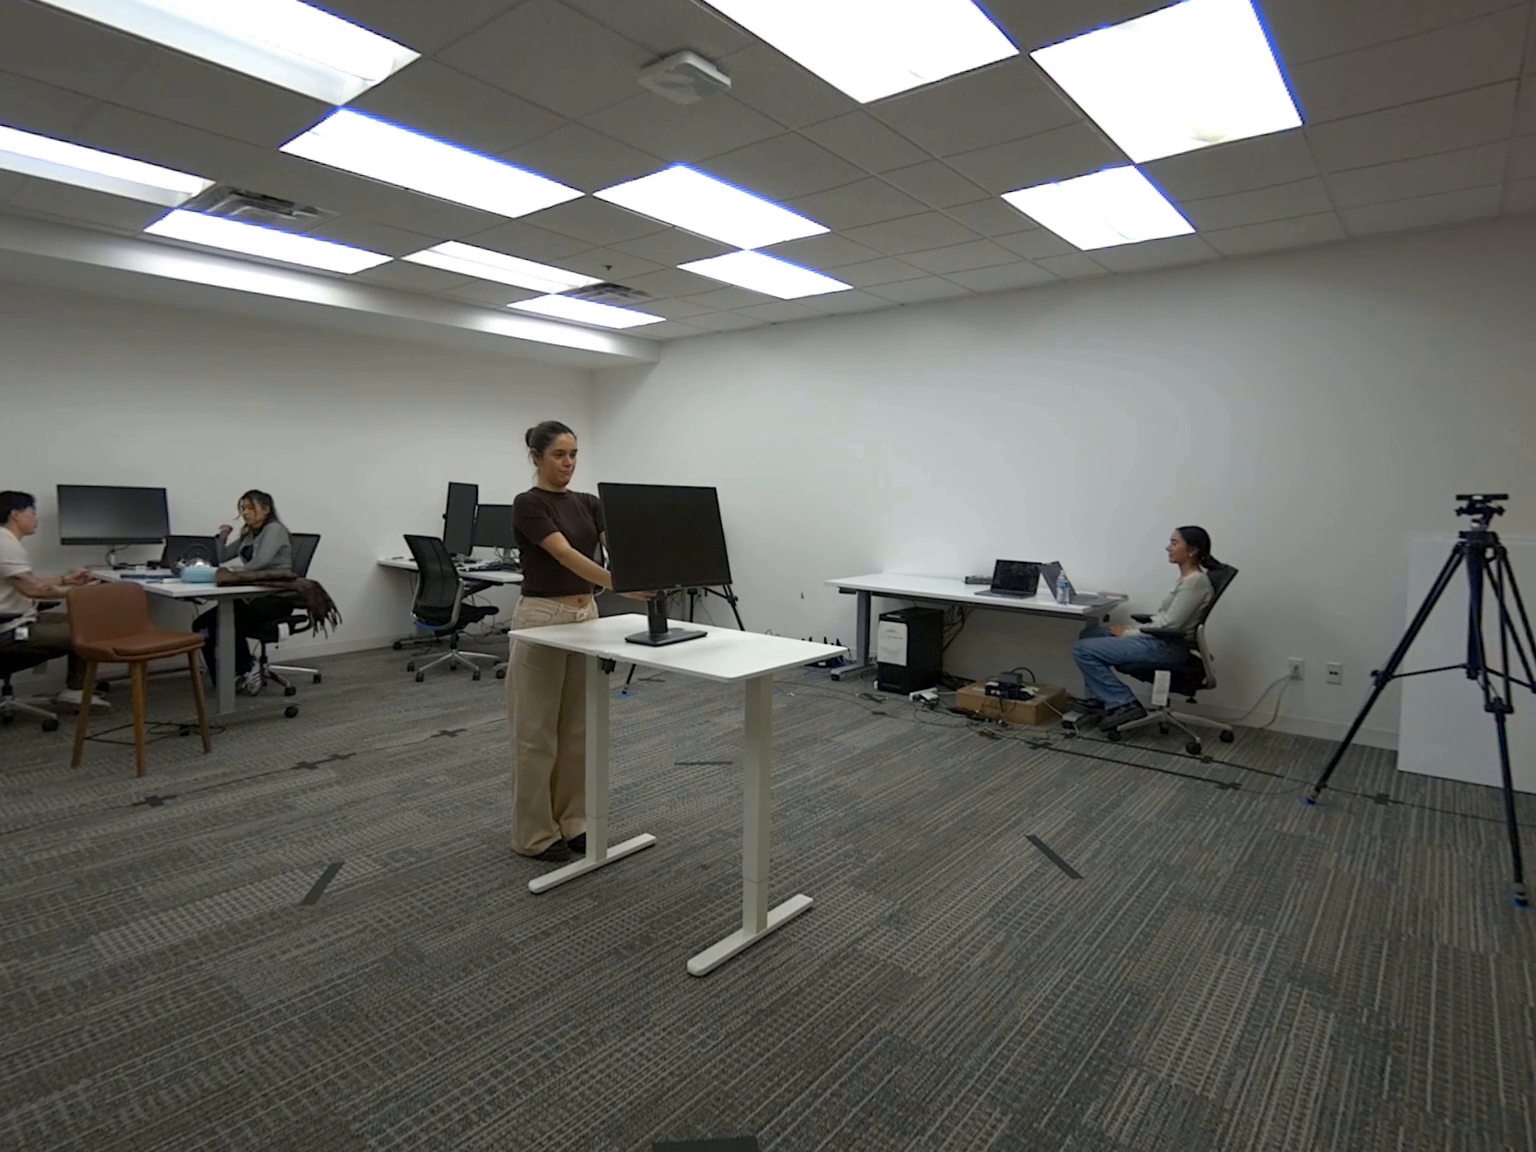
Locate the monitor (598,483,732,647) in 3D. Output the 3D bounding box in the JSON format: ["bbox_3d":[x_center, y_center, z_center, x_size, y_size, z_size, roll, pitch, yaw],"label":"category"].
[{"bbox_3d":[-0.361,-0.044,2.842,0.193,0.522,0.523,1,2,38],"label":"monitor"}]
